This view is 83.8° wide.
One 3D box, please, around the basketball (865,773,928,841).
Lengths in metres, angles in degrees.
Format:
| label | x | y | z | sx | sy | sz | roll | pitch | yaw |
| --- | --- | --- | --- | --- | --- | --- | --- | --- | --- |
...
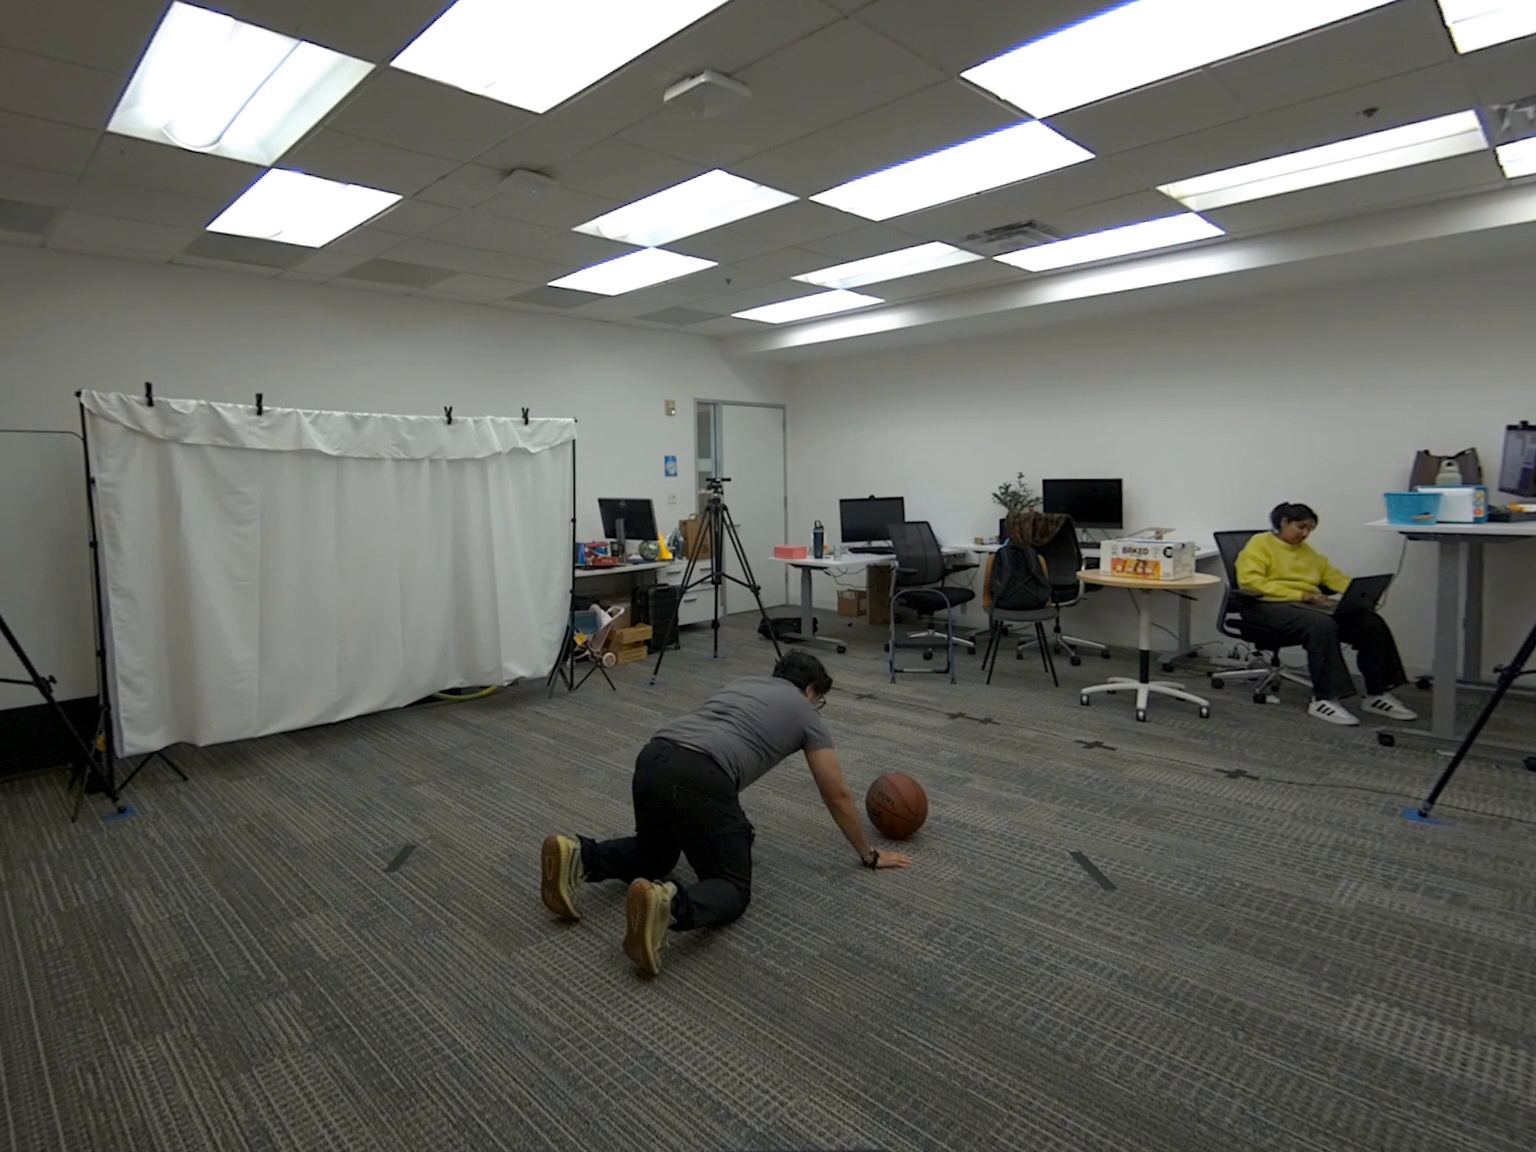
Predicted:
| label | x | y | z | sx | sy | sz | roll | pitch | yaw |
| --- | --- | --- | --- | --- | --- | --- | --- | --- | --- |
| basketball | 0.504 | 0.888 | 3.322 | 0.236 | 0.235 | 0.237 | -1 | 5 | -2 |
